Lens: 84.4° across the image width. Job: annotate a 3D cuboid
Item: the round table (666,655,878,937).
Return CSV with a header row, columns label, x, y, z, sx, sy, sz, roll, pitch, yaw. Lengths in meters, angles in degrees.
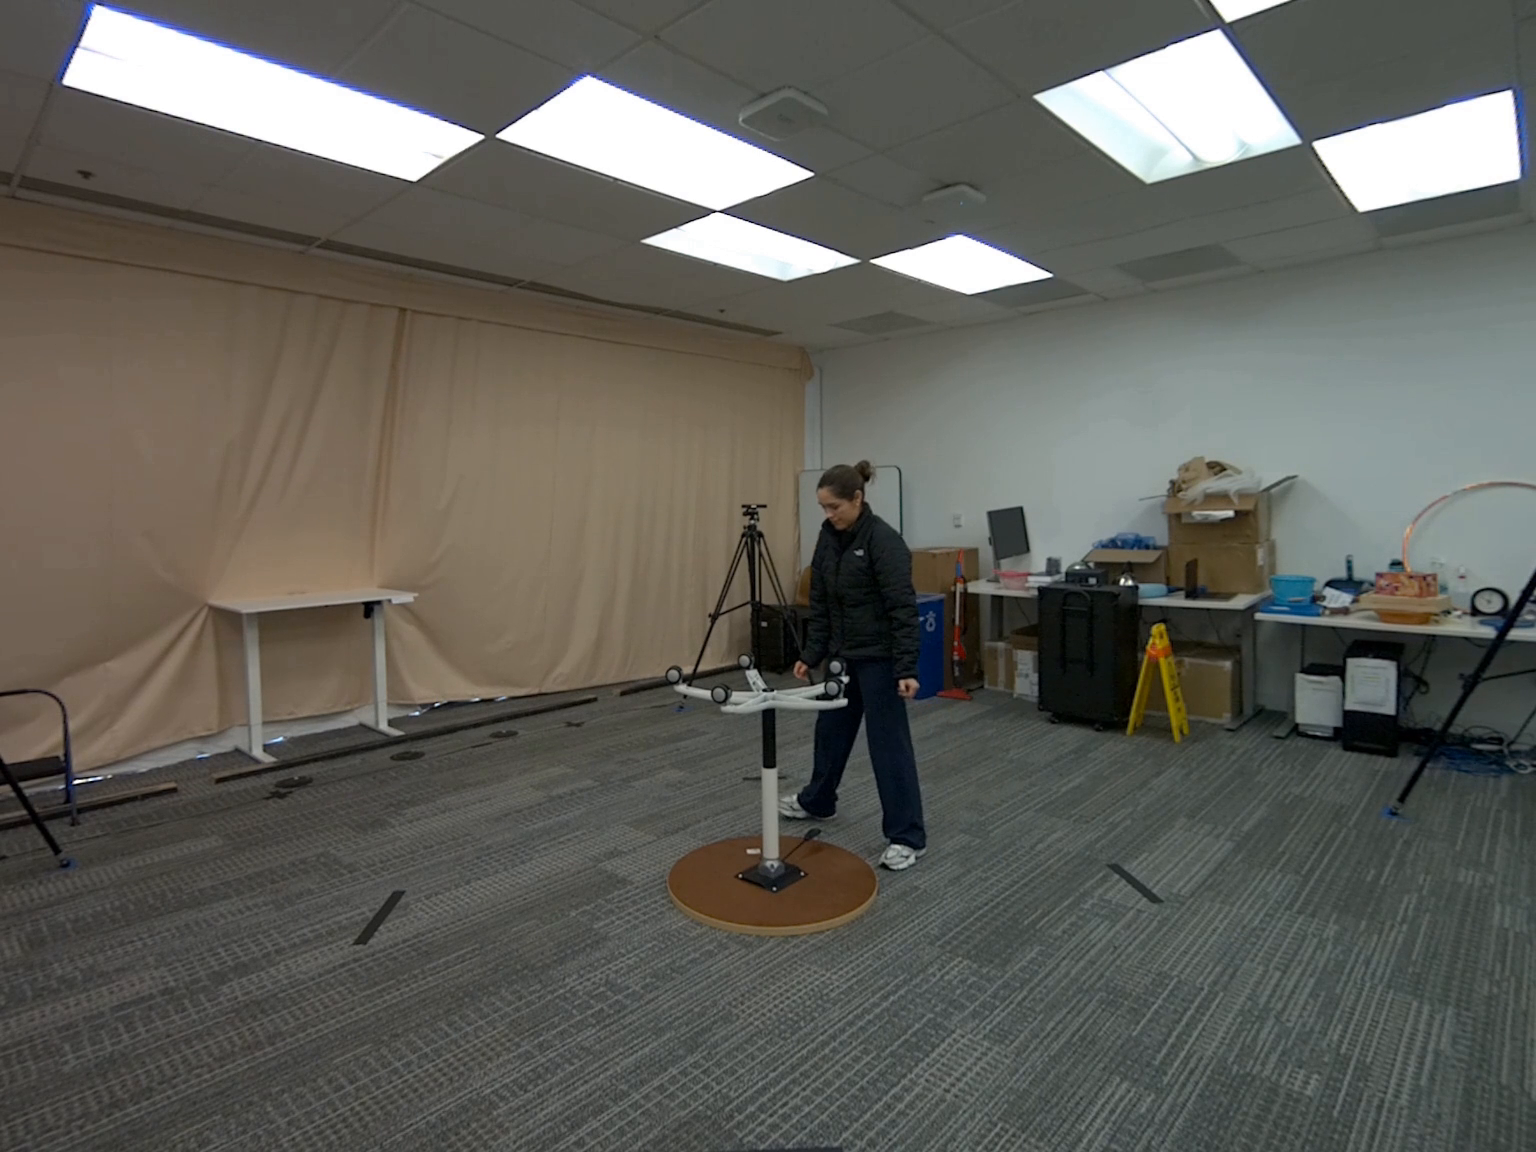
label,x,y,z,sx,sy,sz,roll,pitch,yaw
round table,0.030,0.731,3.077,0.784,0.784,0.788,-1,4,-2
